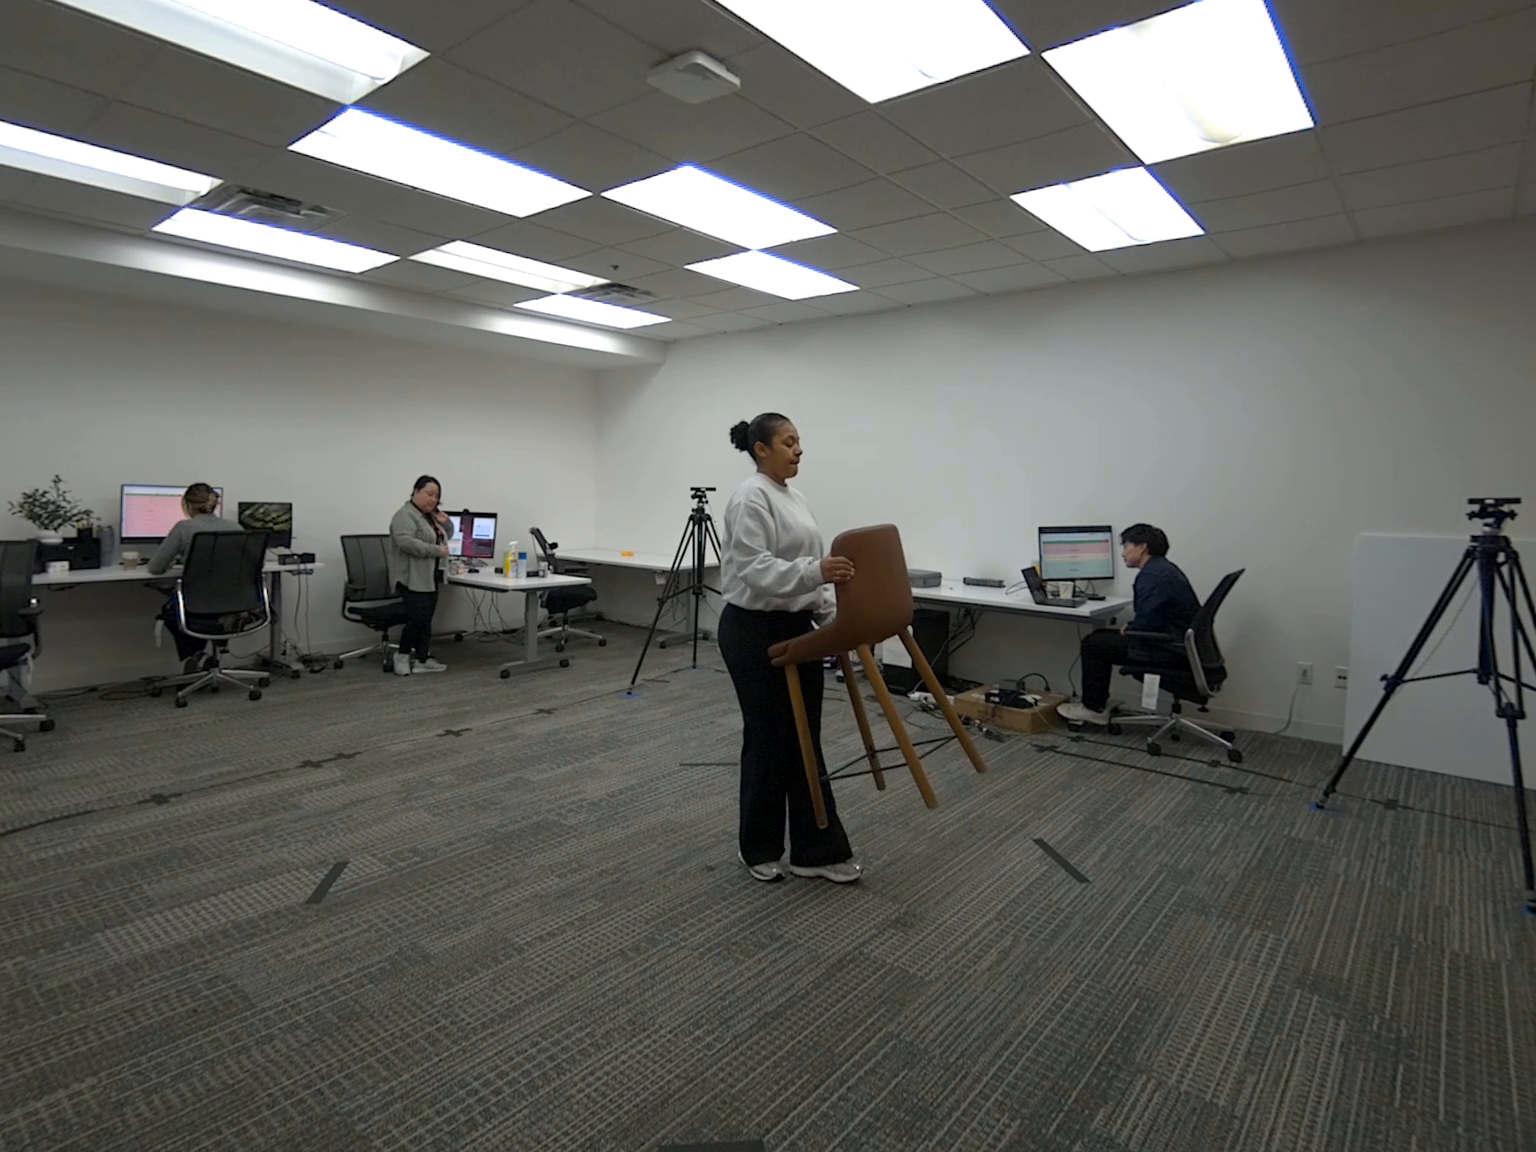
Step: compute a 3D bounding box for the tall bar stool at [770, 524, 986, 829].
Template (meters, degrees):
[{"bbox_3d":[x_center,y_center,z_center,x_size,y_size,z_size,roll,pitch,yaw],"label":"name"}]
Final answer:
[{"bbox_3d":[0.310,0.319,2.877,0.476,0.899,0.444,-24,-10,40],"label":"tall bar stool"}]
